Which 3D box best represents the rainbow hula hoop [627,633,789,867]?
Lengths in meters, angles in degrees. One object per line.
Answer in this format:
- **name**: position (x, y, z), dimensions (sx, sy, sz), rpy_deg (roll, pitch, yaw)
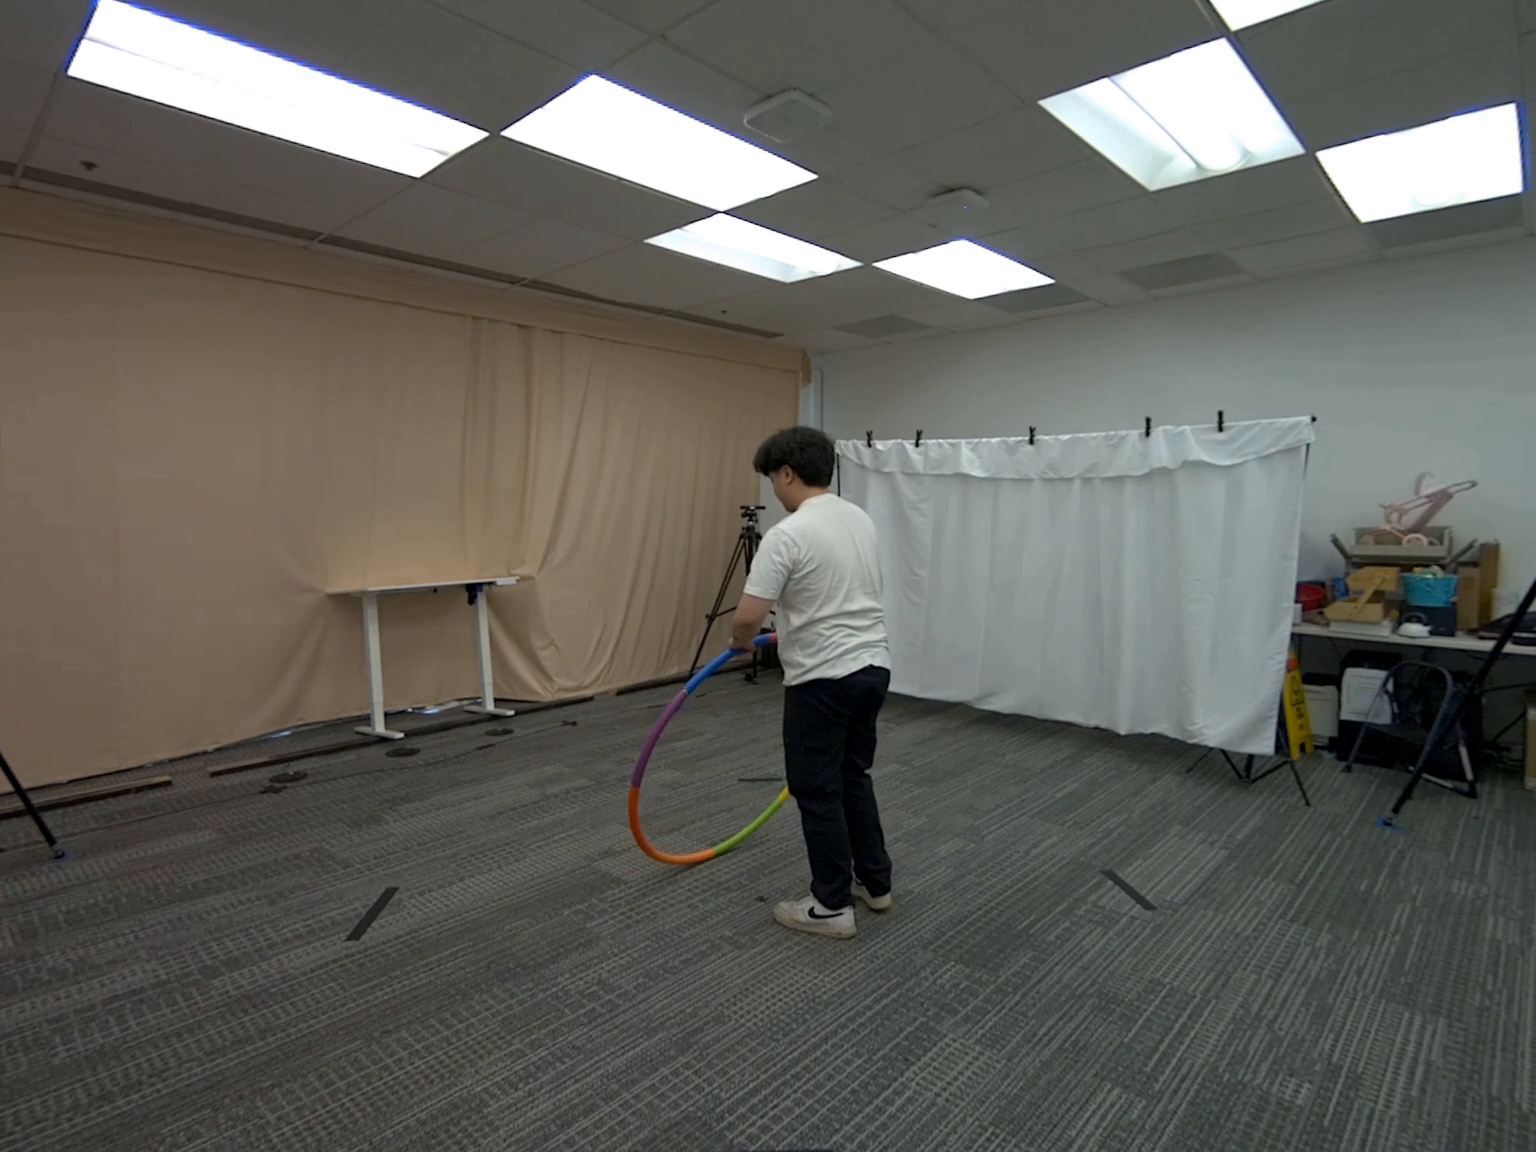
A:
- **rainbow hula hoop**: position (-0.119, 0.674, 3.187), dimensions (0.955, 0.979, 0.053), rpy_deg (-4, 26, -43)
